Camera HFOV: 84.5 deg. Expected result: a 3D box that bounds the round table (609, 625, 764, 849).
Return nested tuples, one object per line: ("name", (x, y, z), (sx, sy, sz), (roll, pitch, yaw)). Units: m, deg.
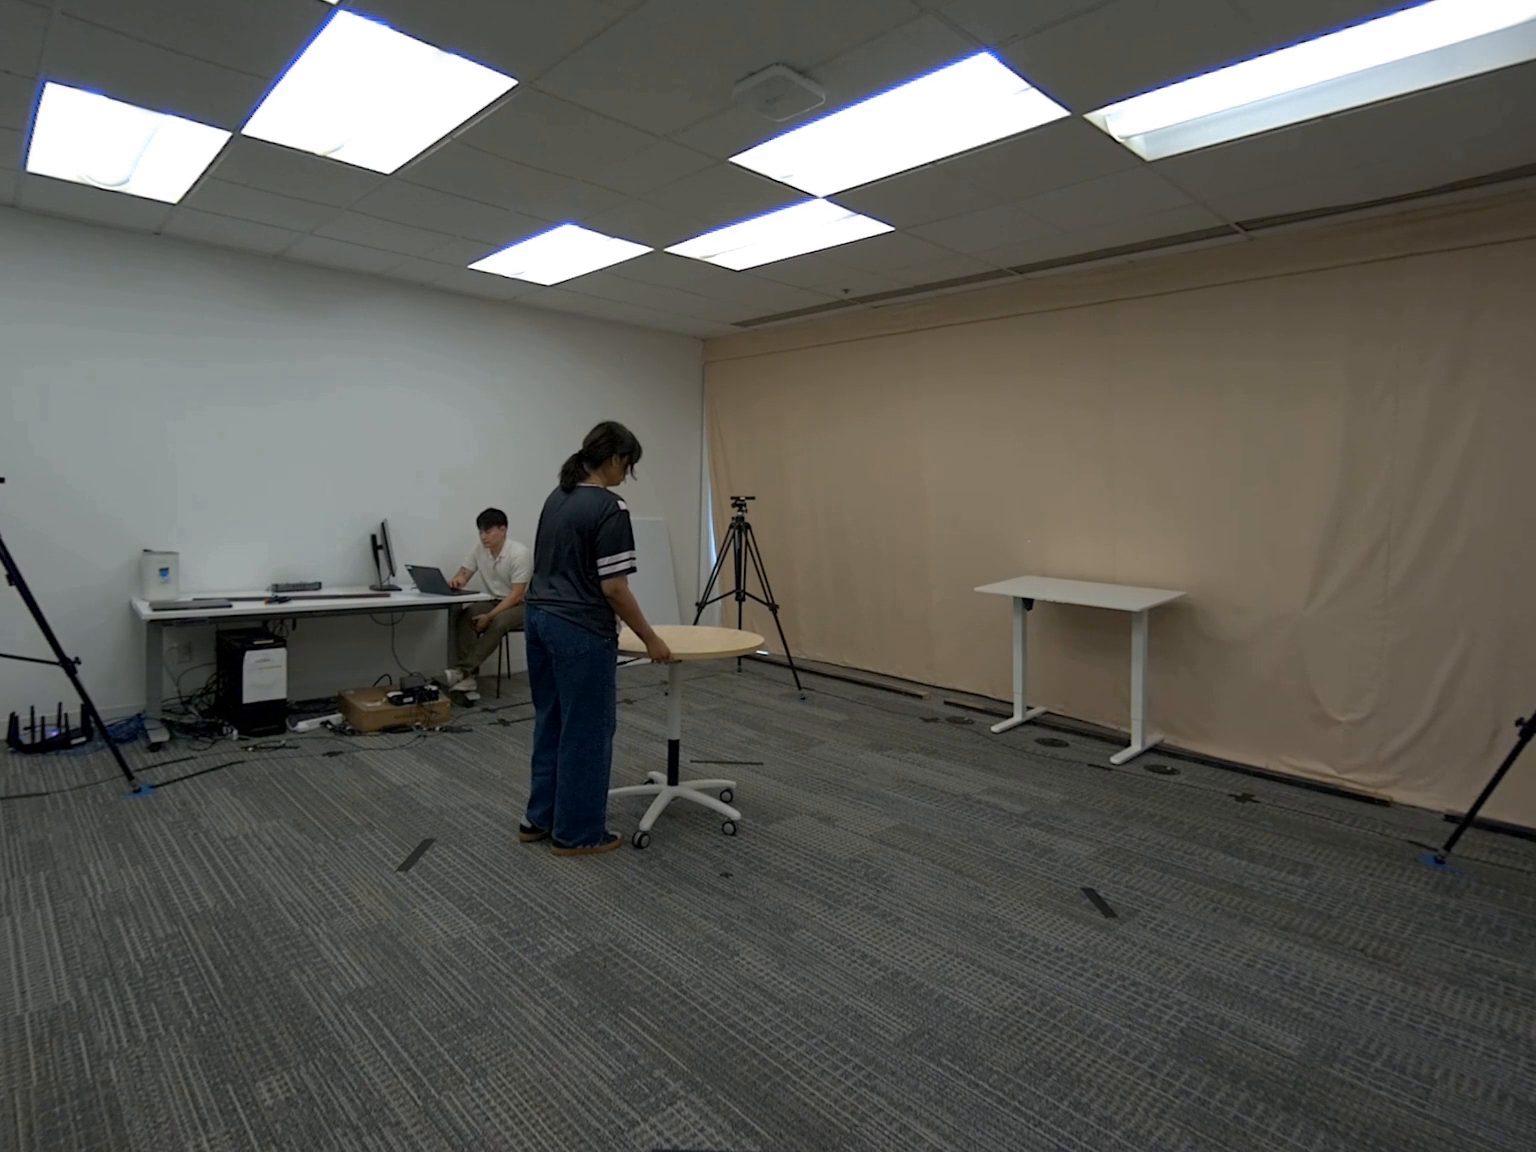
("round table", (-0.412, 0.659, 3.648), (0.763, 0.792, 0.766), (1, 4, -1))
